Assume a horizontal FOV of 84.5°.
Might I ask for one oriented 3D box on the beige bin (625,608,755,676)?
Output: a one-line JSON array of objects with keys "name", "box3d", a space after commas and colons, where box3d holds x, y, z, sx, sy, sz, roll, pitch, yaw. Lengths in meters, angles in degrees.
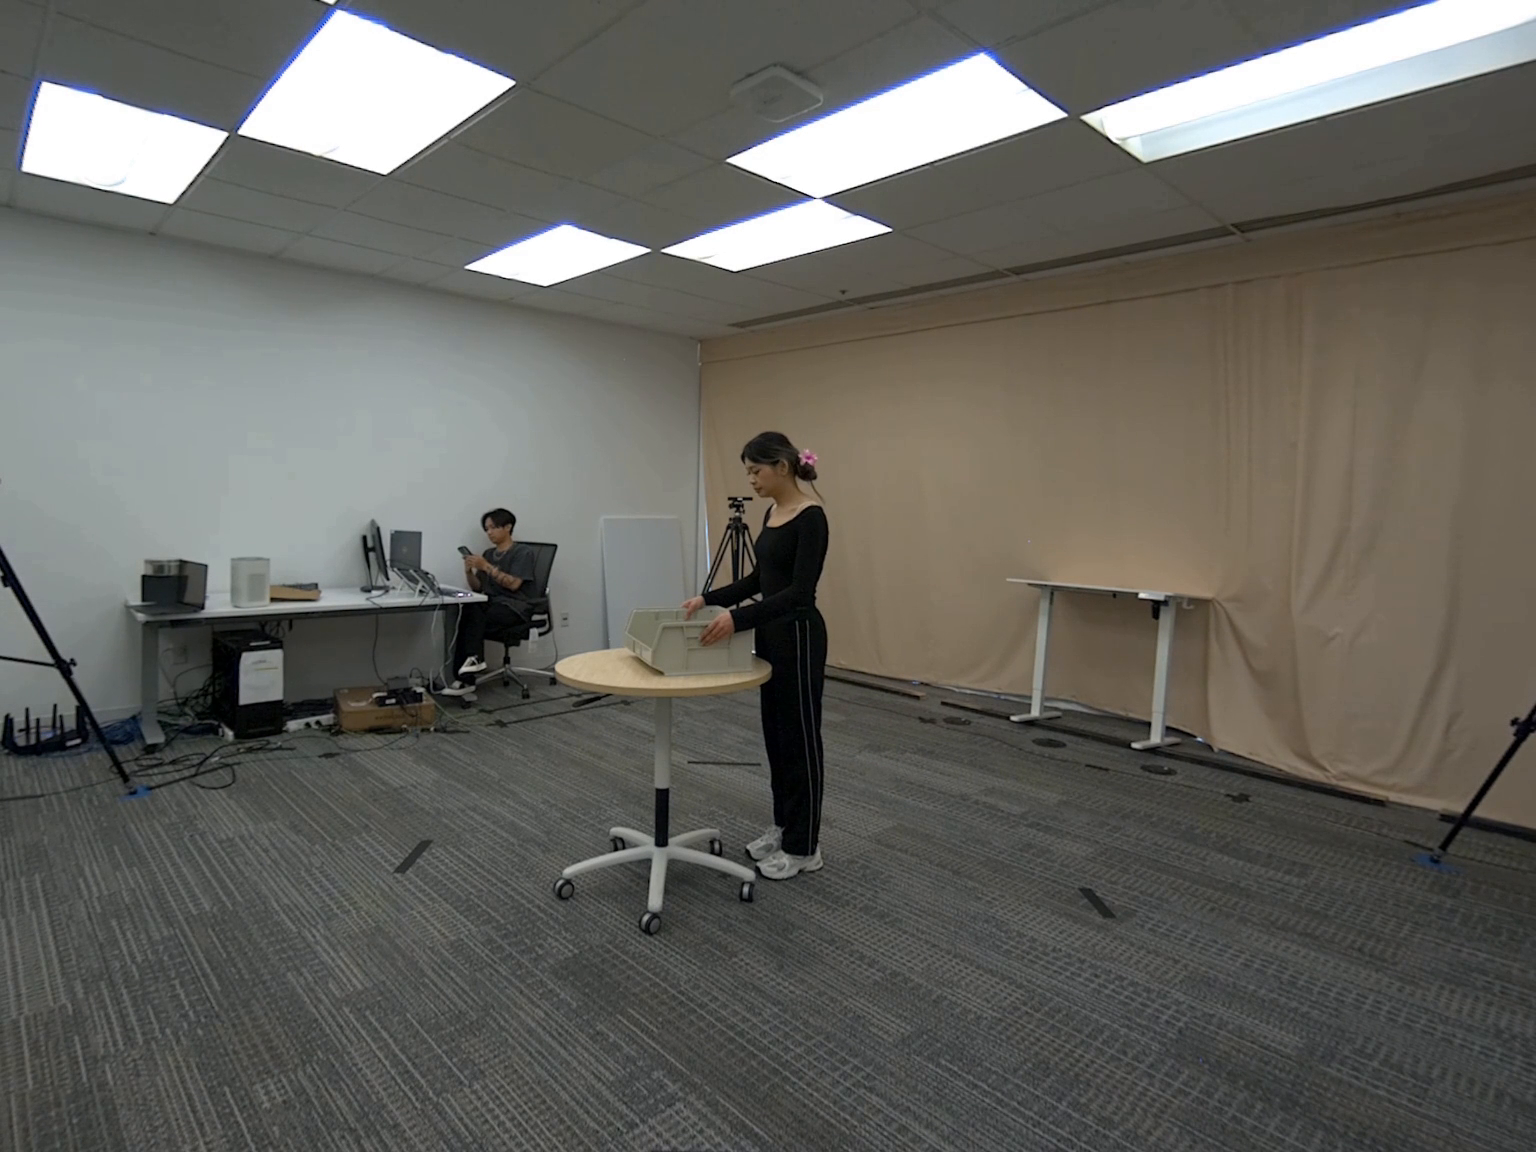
[{"name": "beige bin", "box3d": [-0.303, 0.227, 3.030, 0.371, 0.188, 0.430, 0, 3, -21]}]
